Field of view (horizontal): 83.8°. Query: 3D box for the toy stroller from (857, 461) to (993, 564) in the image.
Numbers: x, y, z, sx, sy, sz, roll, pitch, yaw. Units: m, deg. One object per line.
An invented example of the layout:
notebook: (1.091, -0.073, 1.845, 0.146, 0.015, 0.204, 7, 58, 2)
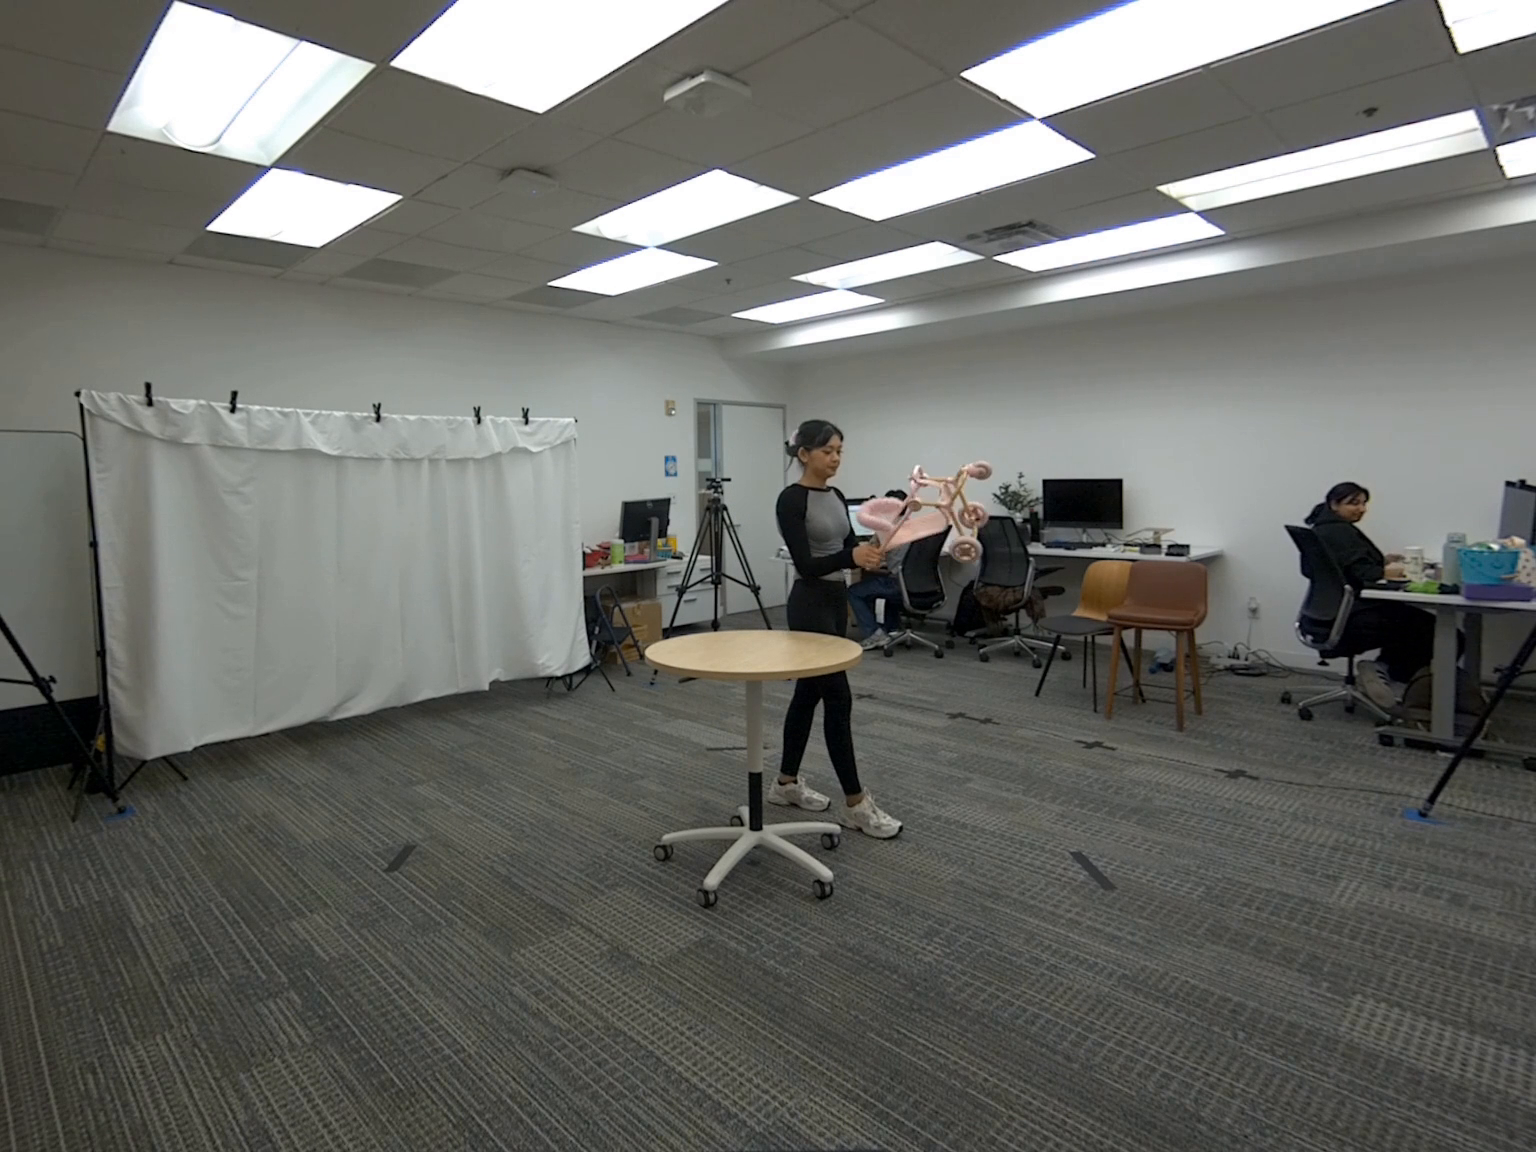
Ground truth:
toy stroller: (0.563, -0.229, 3.095, 0.546, 0.331, 0.284, -7, 34, 28)
